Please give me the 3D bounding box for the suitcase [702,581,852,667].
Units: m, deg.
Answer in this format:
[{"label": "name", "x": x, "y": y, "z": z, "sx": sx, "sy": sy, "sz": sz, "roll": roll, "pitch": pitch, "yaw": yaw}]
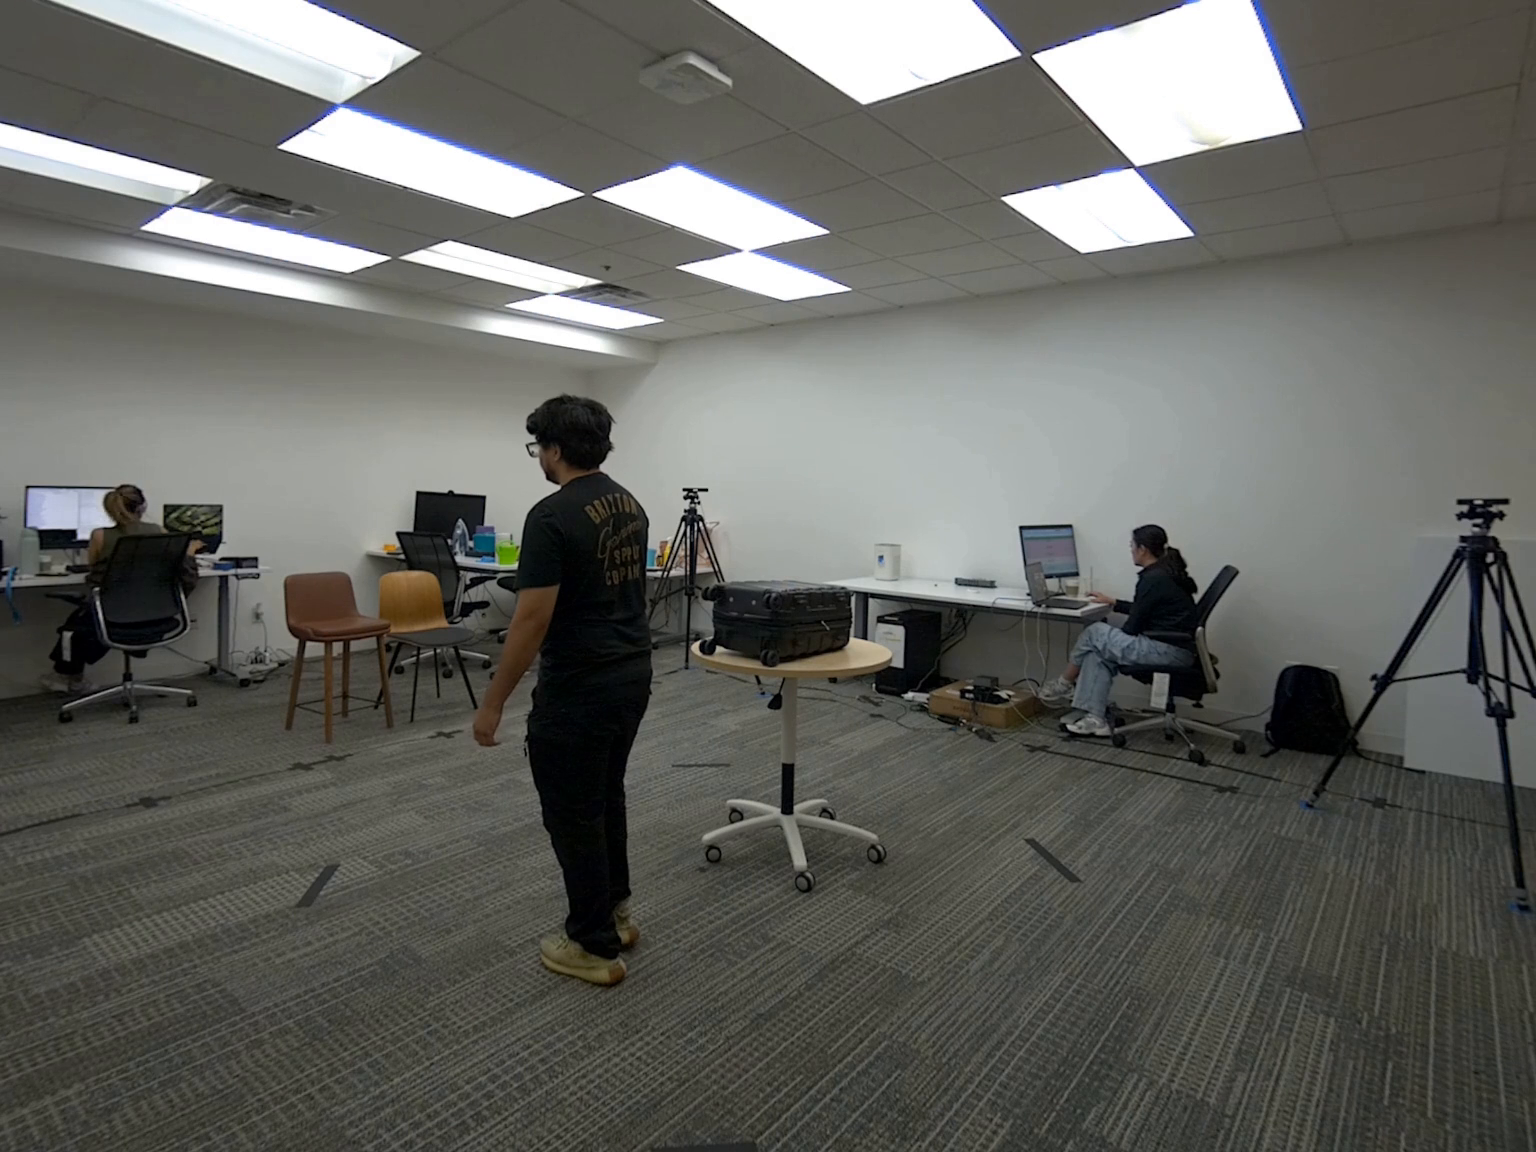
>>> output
[{"label": "suitcase", "x": 0.042, "y": 0.155, "z": 3.226, "sx": 0.388, "sy": 0.248, "sz": 0.532, "roll": 3, "pitch": 4, "yaw": 40}]
